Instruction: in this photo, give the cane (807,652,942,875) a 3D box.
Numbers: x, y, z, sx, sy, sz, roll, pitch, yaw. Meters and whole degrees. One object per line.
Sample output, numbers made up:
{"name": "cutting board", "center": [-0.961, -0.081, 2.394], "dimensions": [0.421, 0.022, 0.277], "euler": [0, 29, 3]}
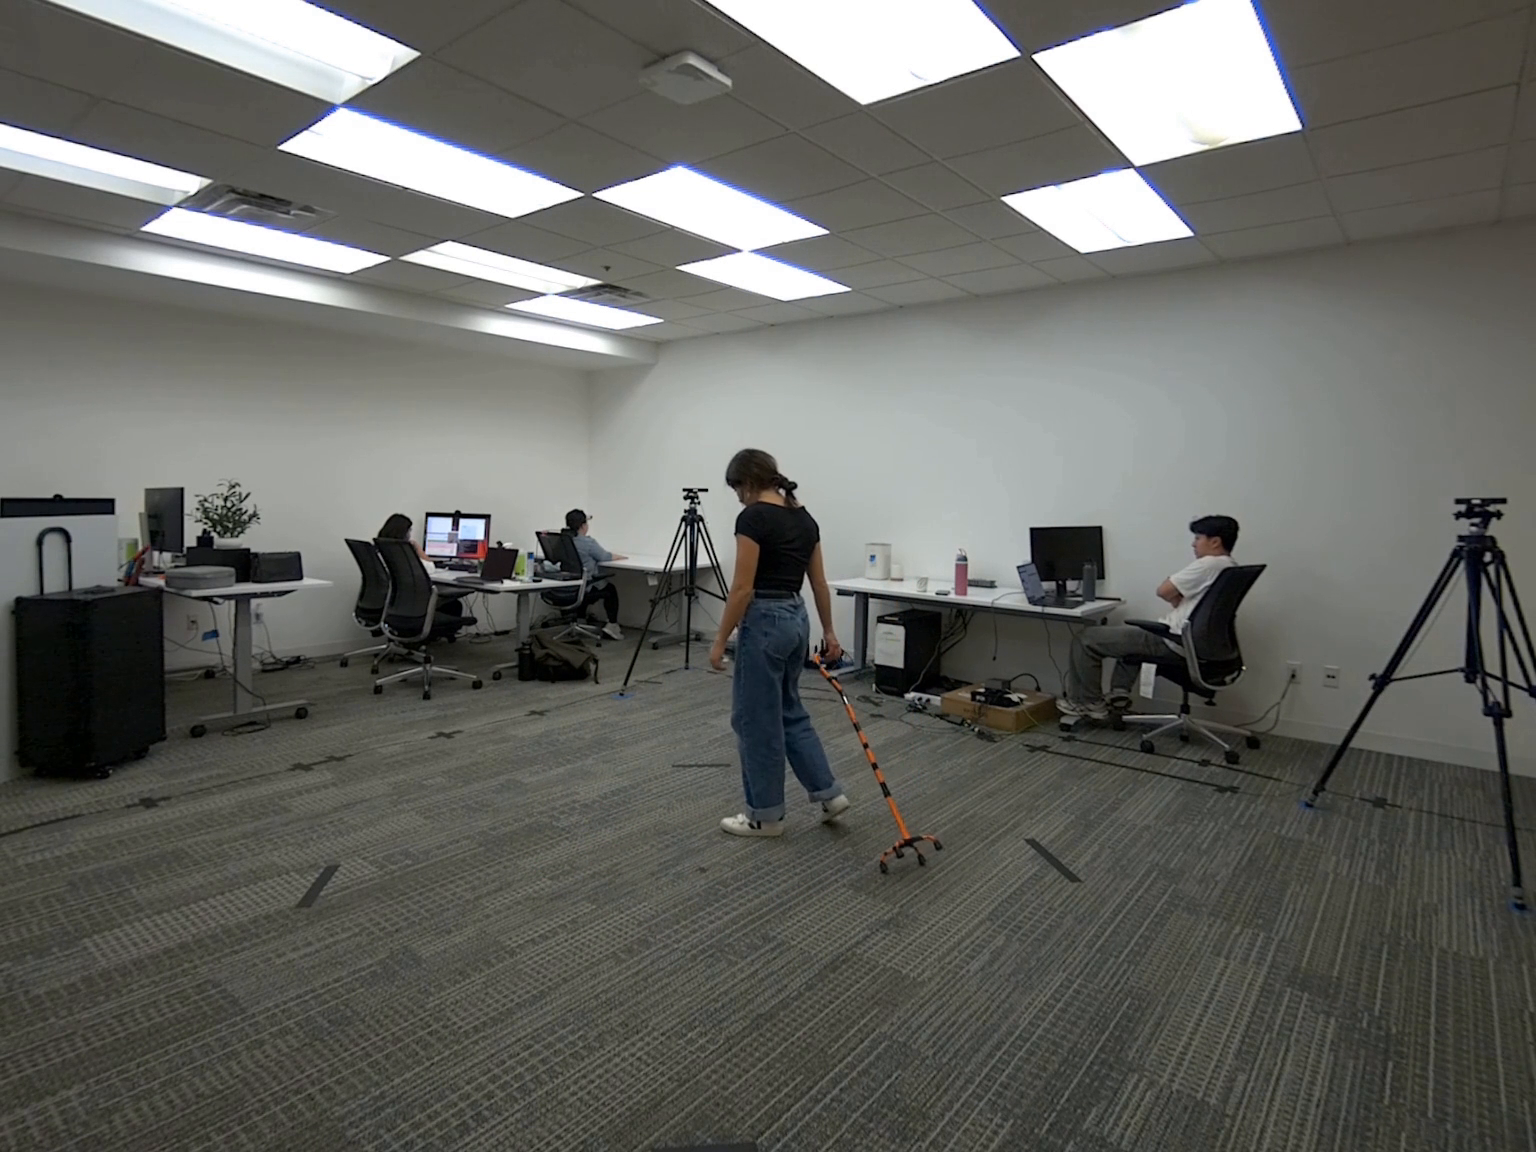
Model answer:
{"name": "cane", "center": [0.393, 0.674, 3.376], "dimensions": [0.202, 0.941, 0.150], "euler": [-2, -40, -25]}
